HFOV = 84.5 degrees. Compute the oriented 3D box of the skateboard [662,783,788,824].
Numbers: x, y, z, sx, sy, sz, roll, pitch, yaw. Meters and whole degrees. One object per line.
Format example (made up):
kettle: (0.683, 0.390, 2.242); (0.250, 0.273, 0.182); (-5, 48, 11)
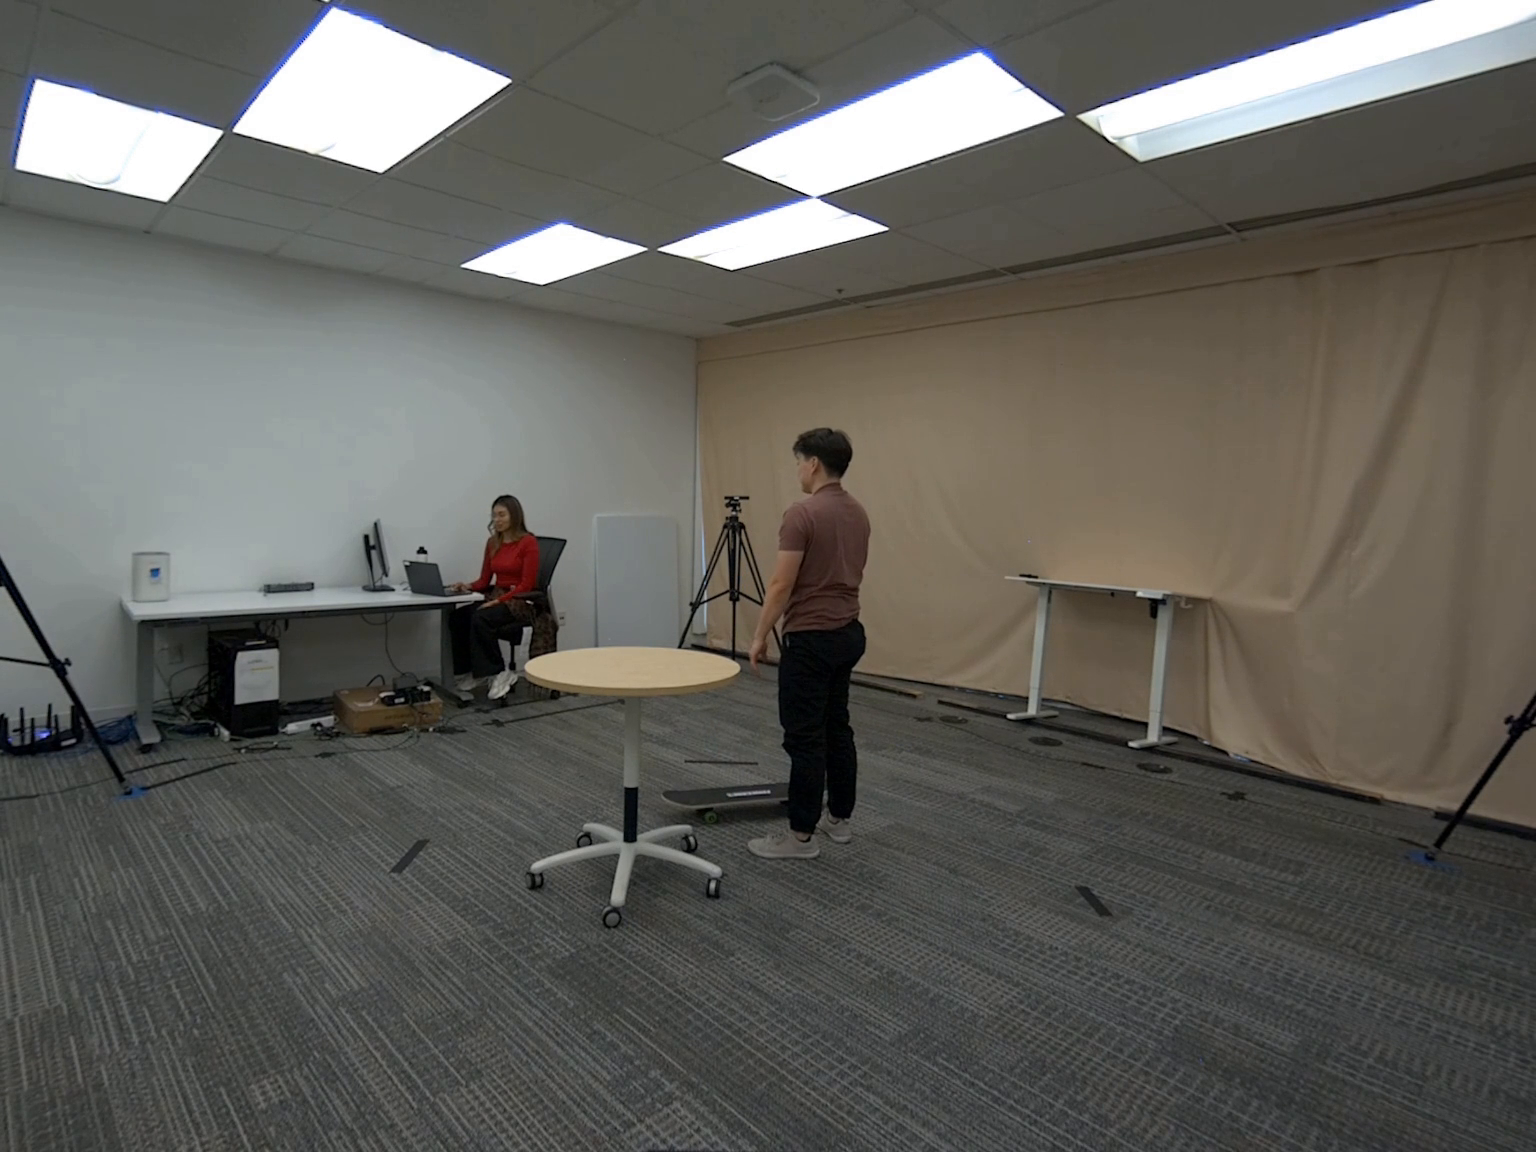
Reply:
skateboard: (-0.092, 0.991, 3.734); (0.774, 0.110, 0.197); (0, 5, -18)
